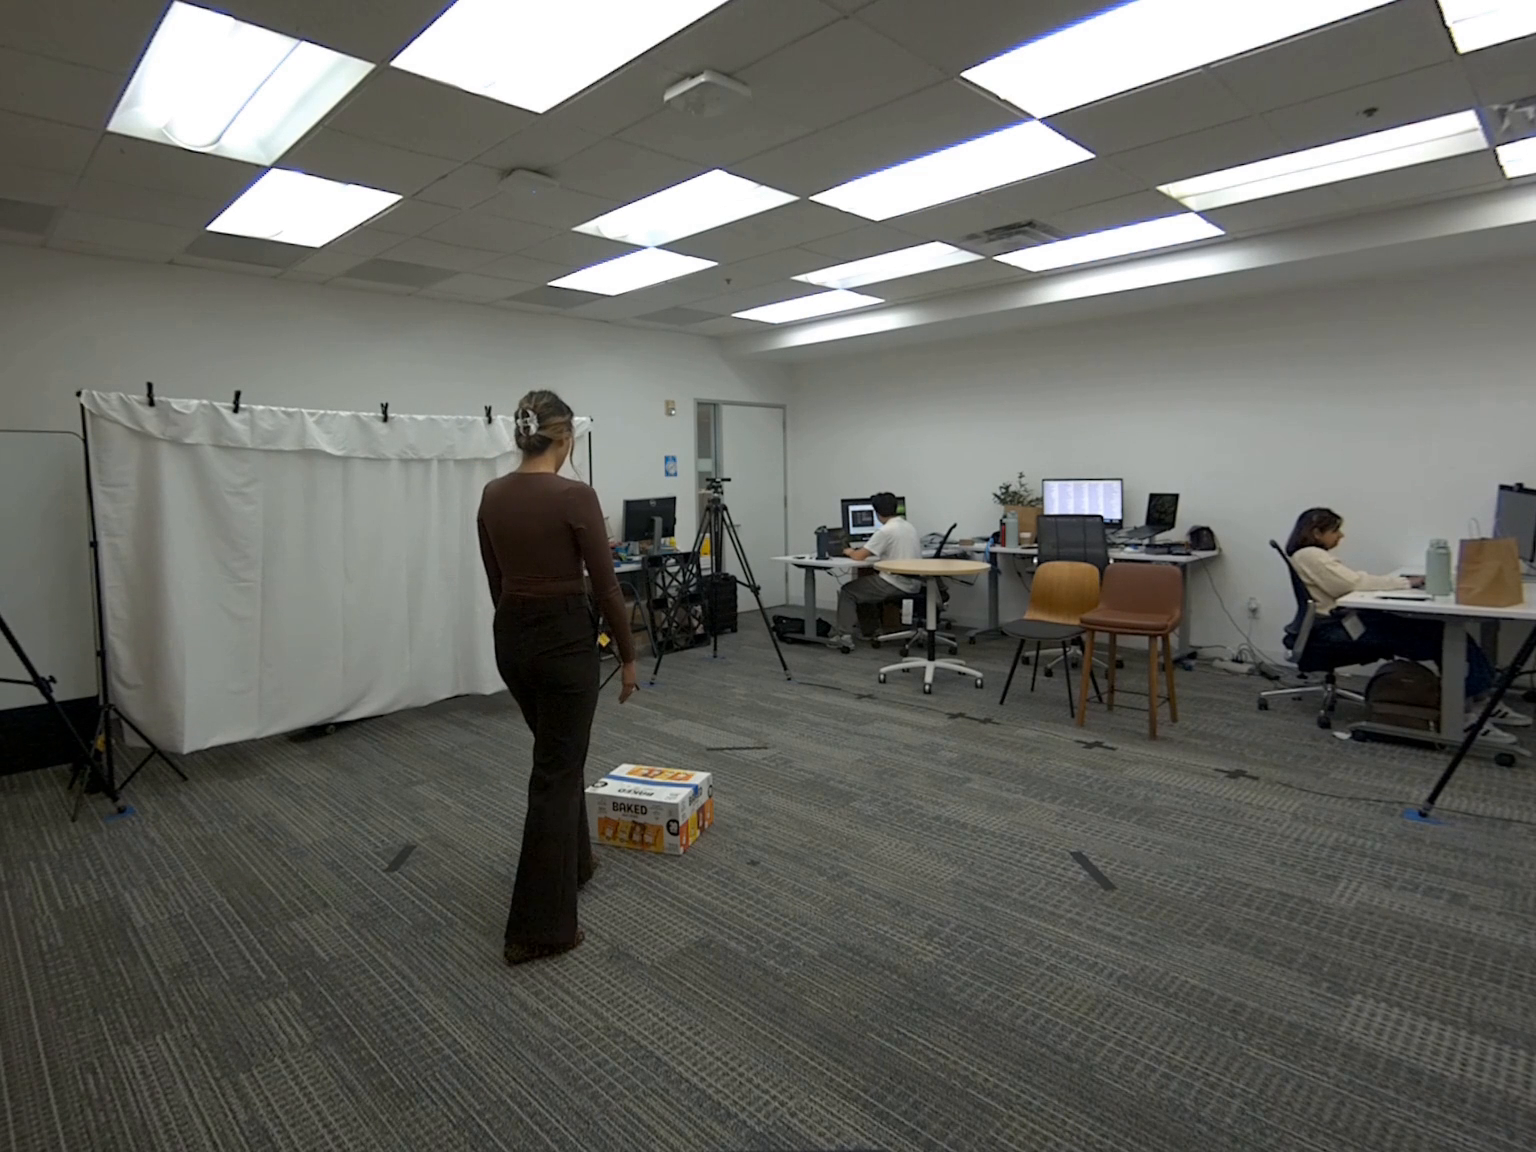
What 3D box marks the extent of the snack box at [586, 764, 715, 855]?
[{"bbox_3d":[-0.468,0.914,3.386,0.413,0.205,0.335,1,6,19],"label":"snack box"}]
